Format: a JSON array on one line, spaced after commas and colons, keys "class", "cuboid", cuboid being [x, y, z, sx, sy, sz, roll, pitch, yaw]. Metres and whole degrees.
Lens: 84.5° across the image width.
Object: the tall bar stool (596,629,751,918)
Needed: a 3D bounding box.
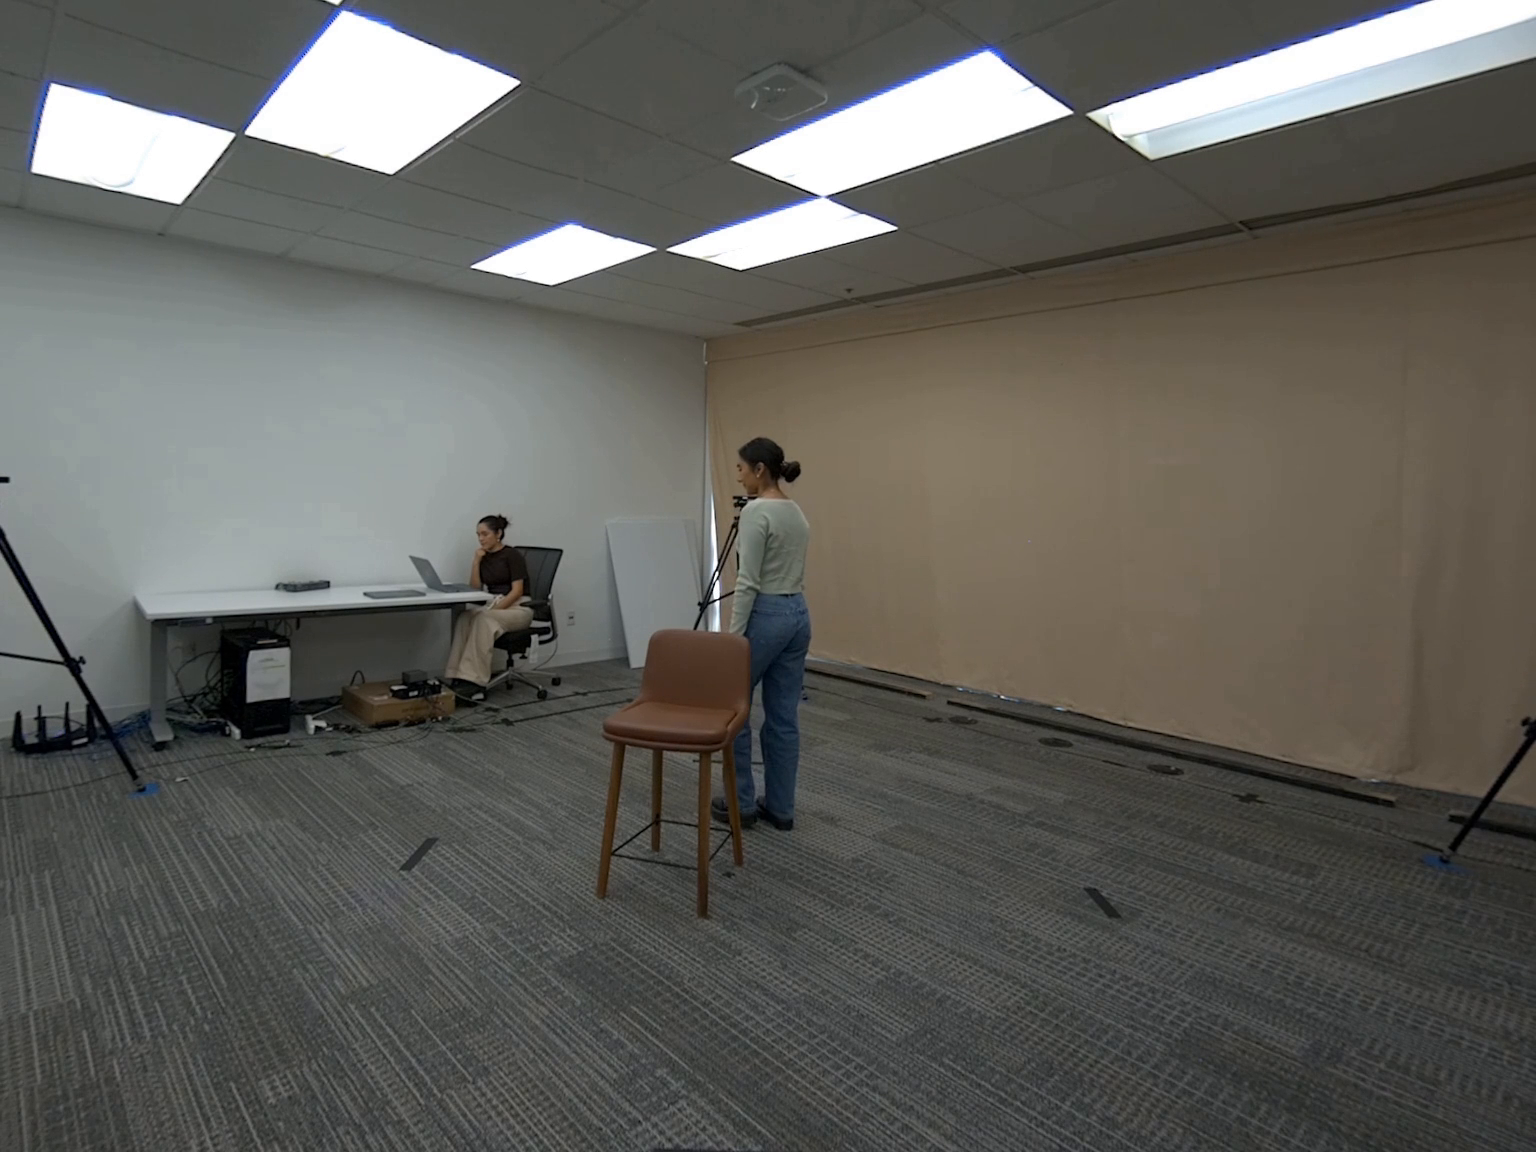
[{"class": "tall bar stool", "cuboid": [-0.326, 0.666, 3.036, 0.463, 0.889, 0.461, 3, 1, 19]}]
